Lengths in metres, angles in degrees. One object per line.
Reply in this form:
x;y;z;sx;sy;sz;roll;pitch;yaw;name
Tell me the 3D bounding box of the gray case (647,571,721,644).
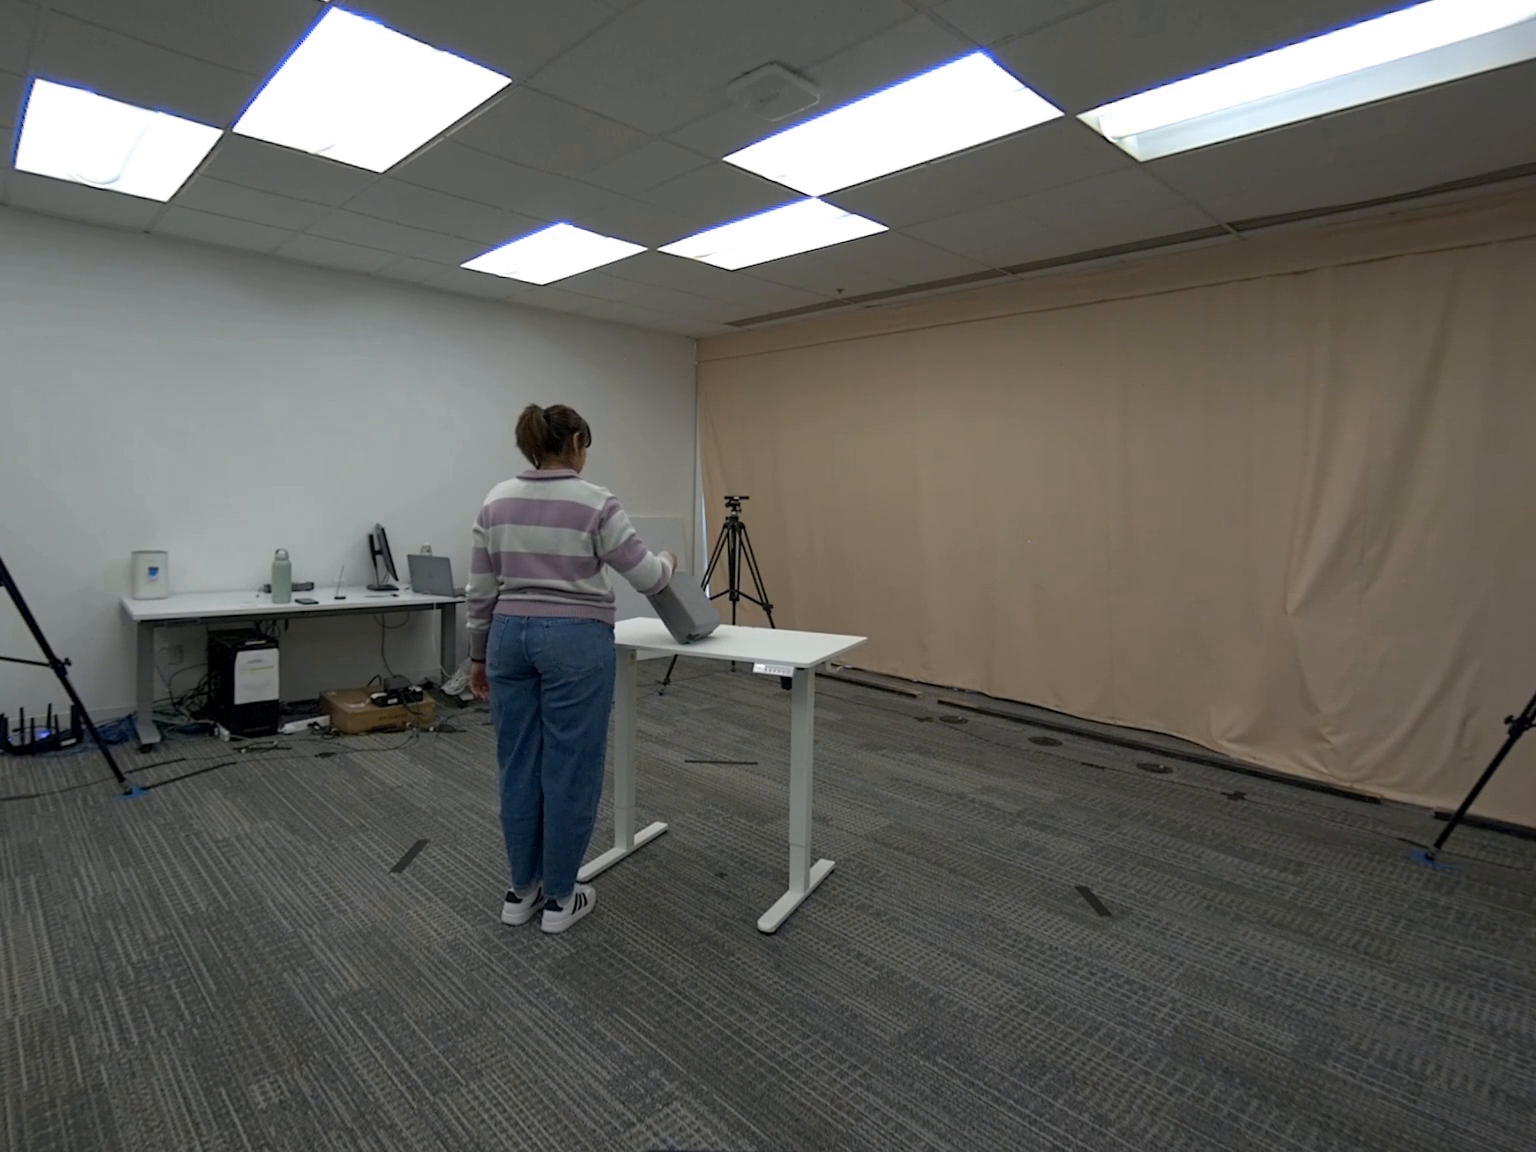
-0.304;0.104;2.998;0.104;0.263;0.254;-37;-8;18;gray case
